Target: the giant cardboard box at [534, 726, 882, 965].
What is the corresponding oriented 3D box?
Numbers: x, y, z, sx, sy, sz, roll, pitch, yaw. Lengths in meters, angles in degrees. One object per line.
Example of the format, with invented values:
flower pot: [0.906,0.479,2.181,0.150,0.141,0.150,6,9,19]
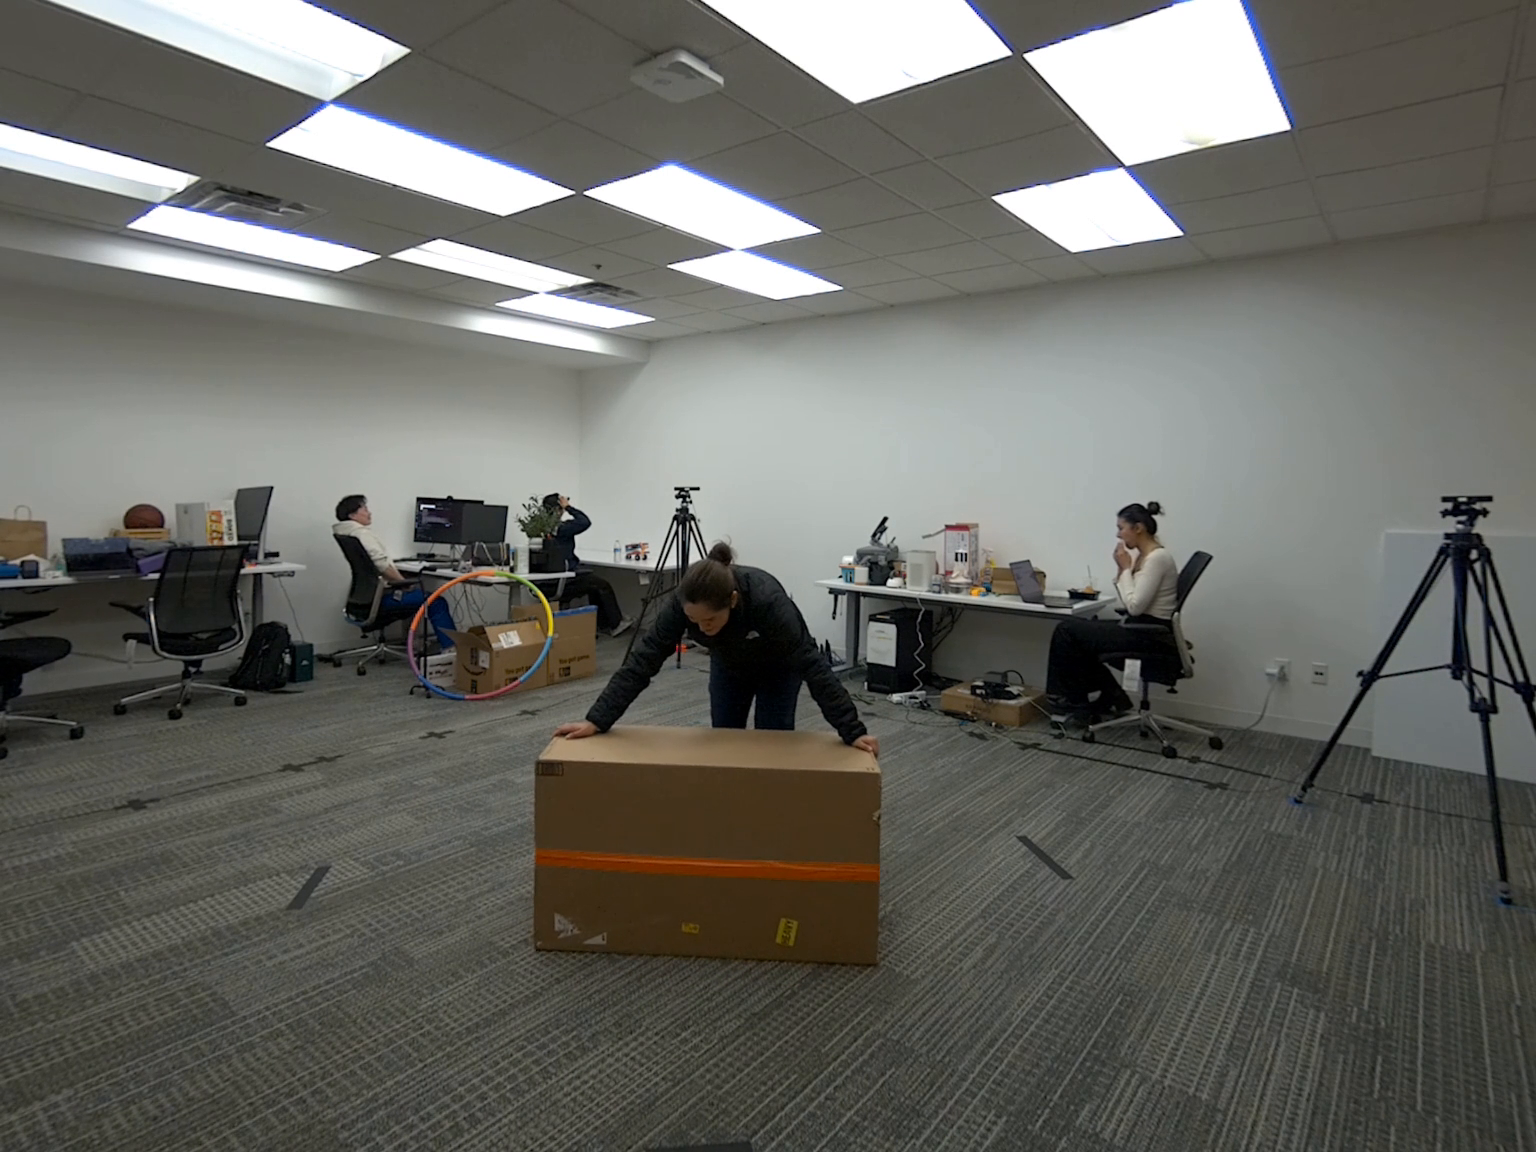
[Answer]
giant cardboard box: [-0.175,0.820,2.712,1.031,0.583,0.446,1,2,3]
